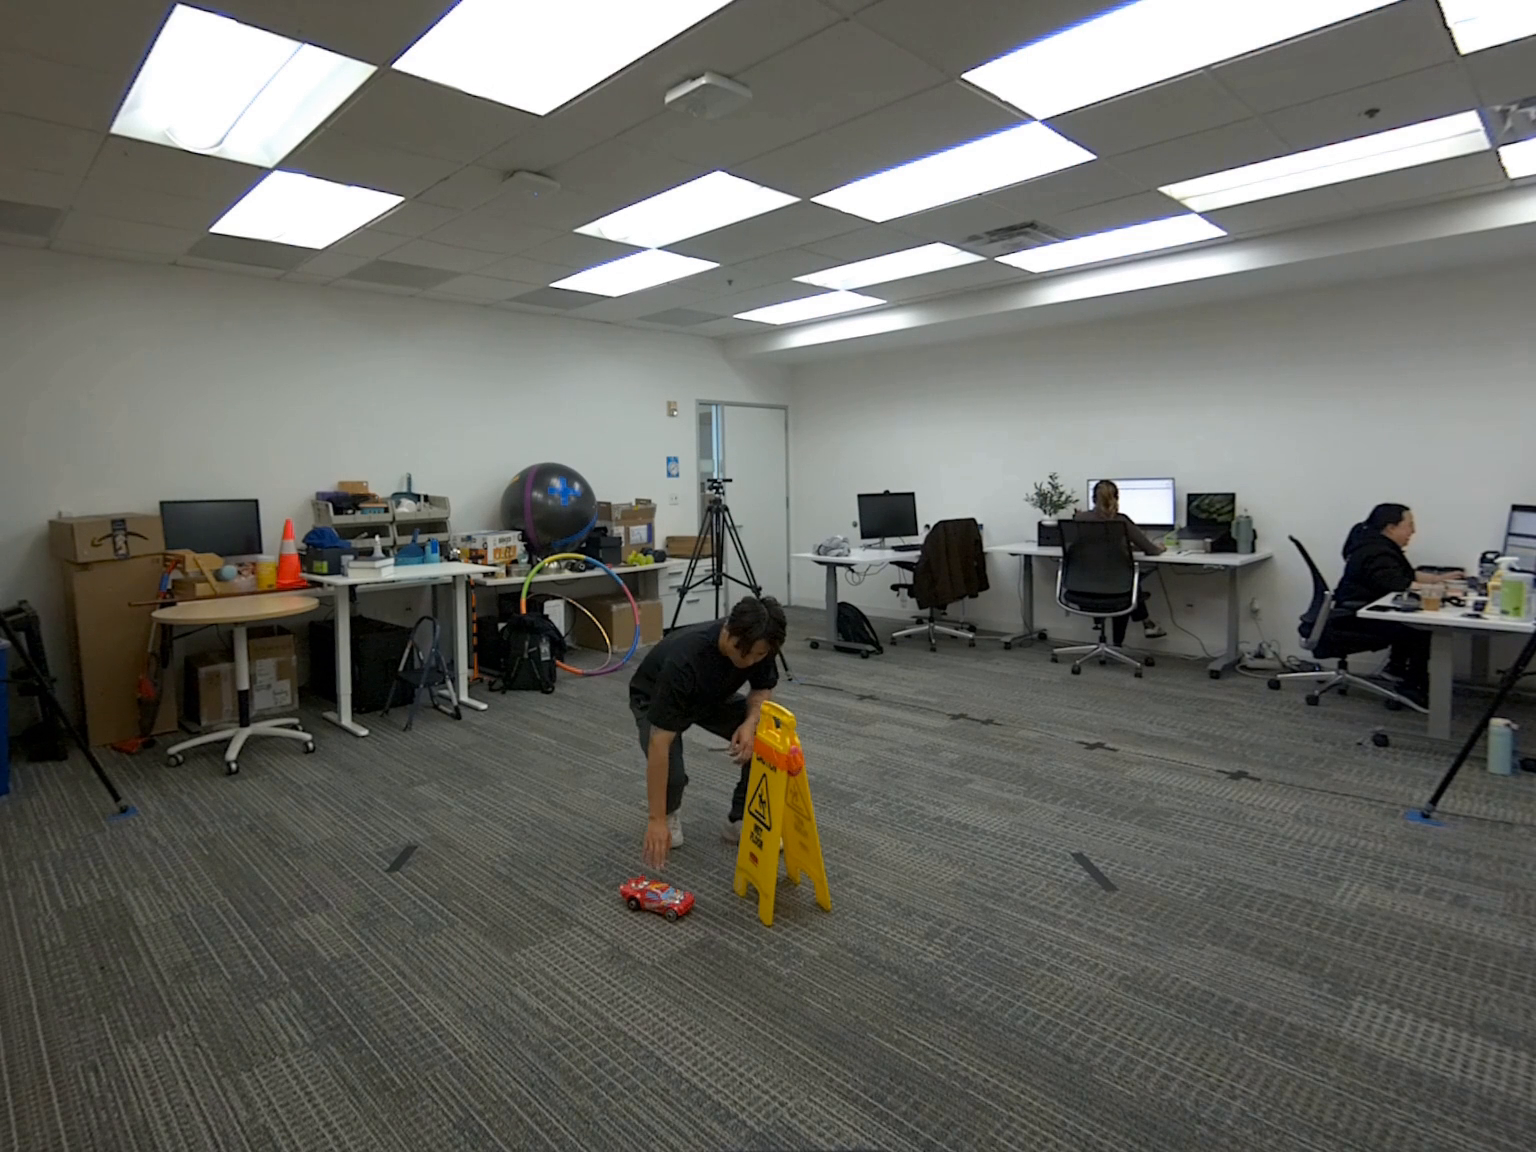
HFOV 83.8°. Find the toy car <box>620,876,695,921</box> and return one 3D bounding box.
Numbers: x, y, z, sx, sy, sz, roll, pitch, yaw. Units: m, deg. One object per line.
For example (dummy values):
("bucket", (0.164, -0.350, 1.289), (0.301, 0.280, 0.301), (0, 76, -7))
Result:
("toy car", (-0.363, 1.058, 2.796), (0.261, 0.082, 0.128), (13, 13, 26))
